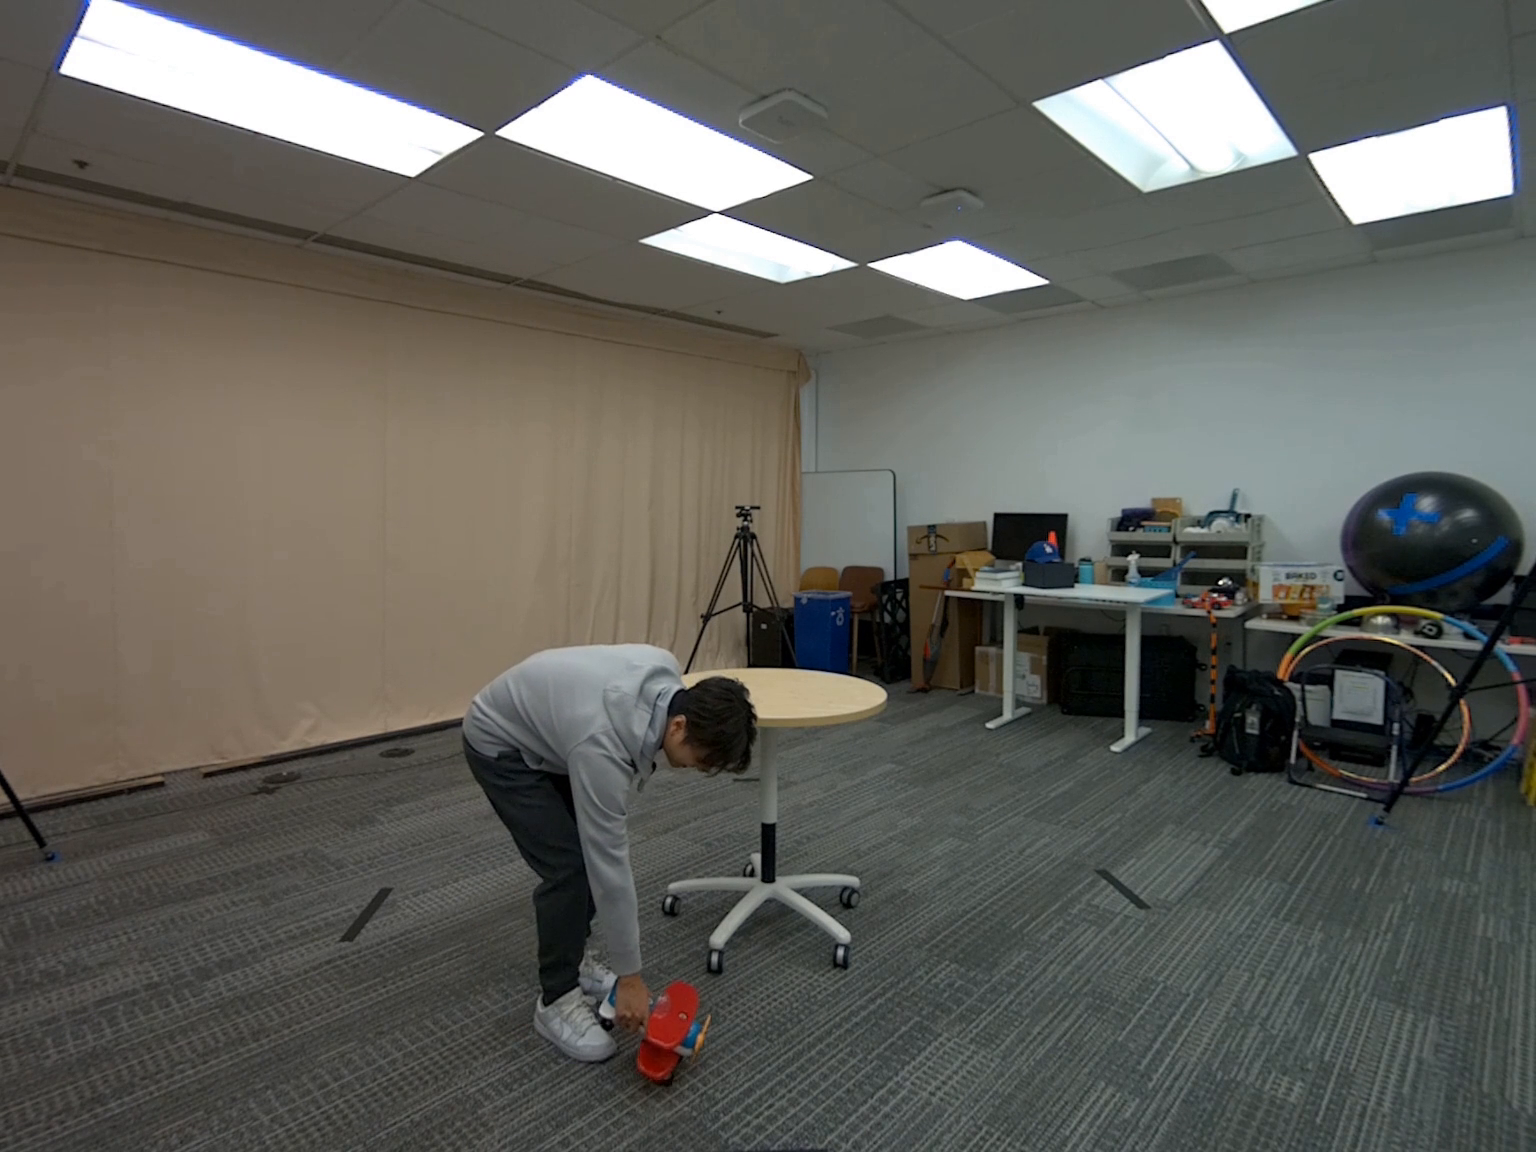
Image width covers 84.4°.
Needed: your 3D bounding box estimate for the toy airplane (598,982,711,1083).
[{"bbox_3d":[-0.279,1.119,2.052,0.253,0.156,0.257,29,10,-20],"label":"toy airplane"}]
